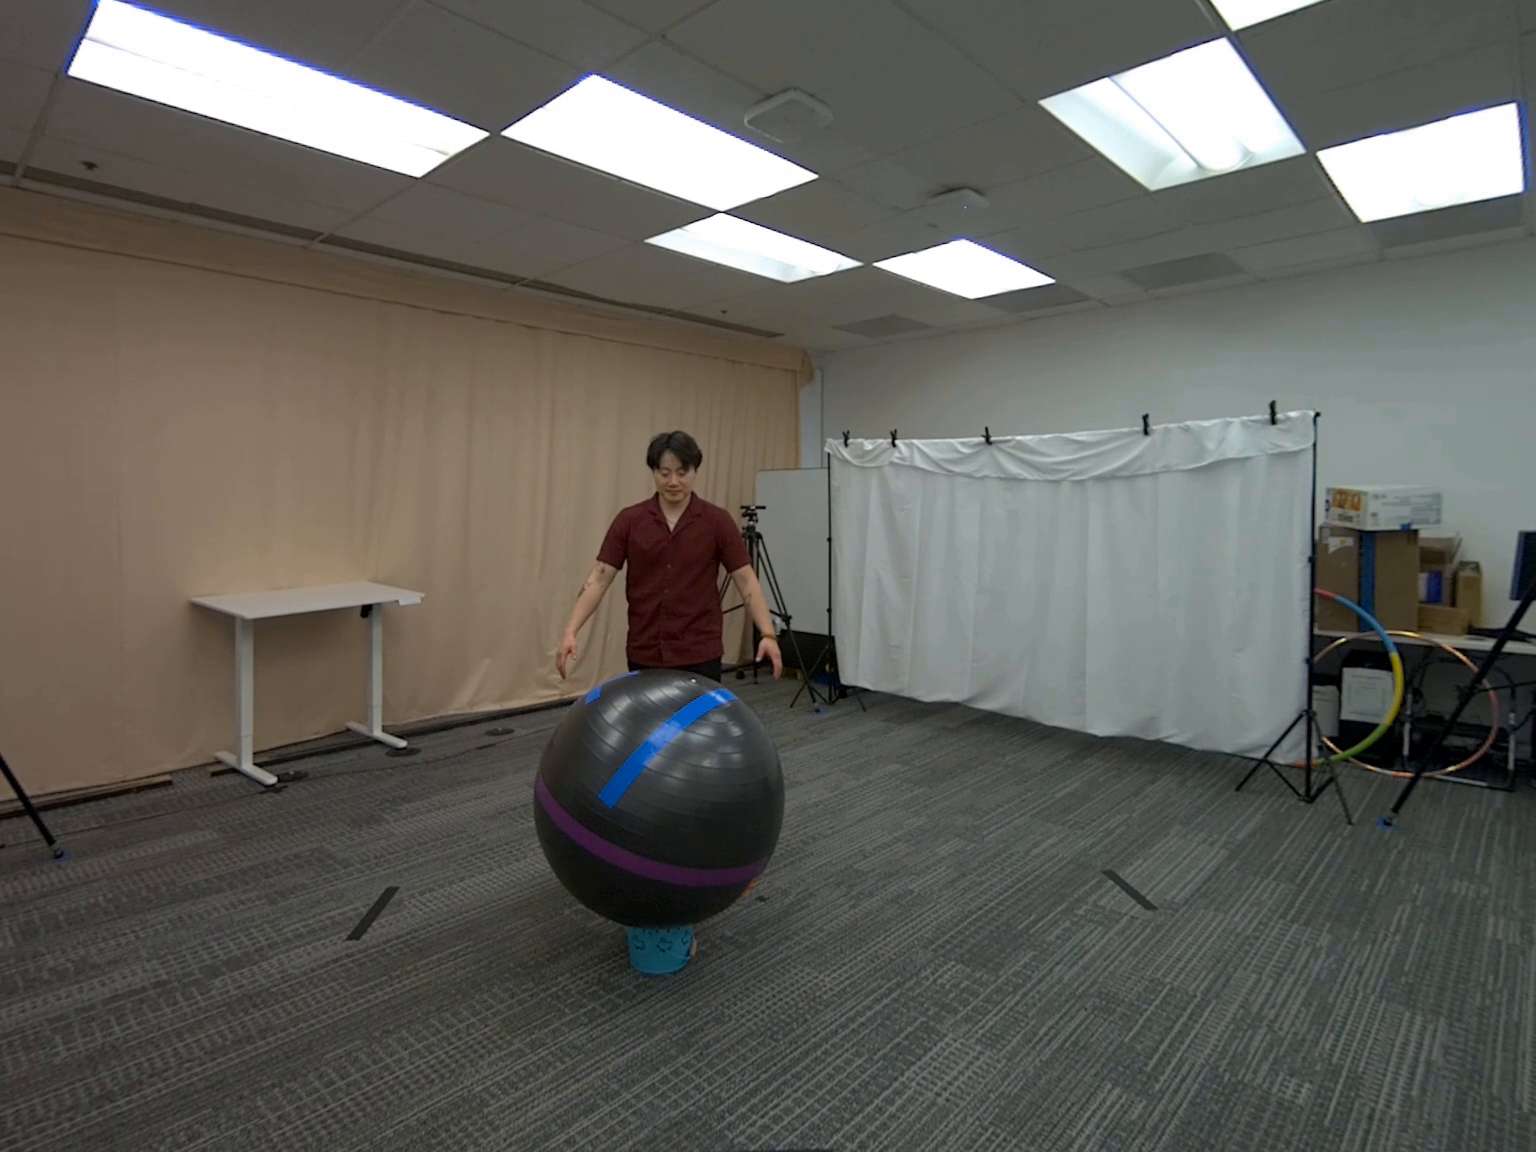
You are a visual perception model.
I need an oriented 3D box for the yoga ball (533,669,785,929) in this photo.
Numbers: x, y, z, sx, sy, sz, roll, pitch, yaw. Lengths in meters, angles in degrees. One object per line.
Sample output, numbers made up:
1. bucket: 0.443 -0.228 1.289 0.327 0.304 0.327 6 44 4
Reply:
1. yoga ball: -0.325 0.675 2.560 0.757 0.756 0.760 0 4 -2
